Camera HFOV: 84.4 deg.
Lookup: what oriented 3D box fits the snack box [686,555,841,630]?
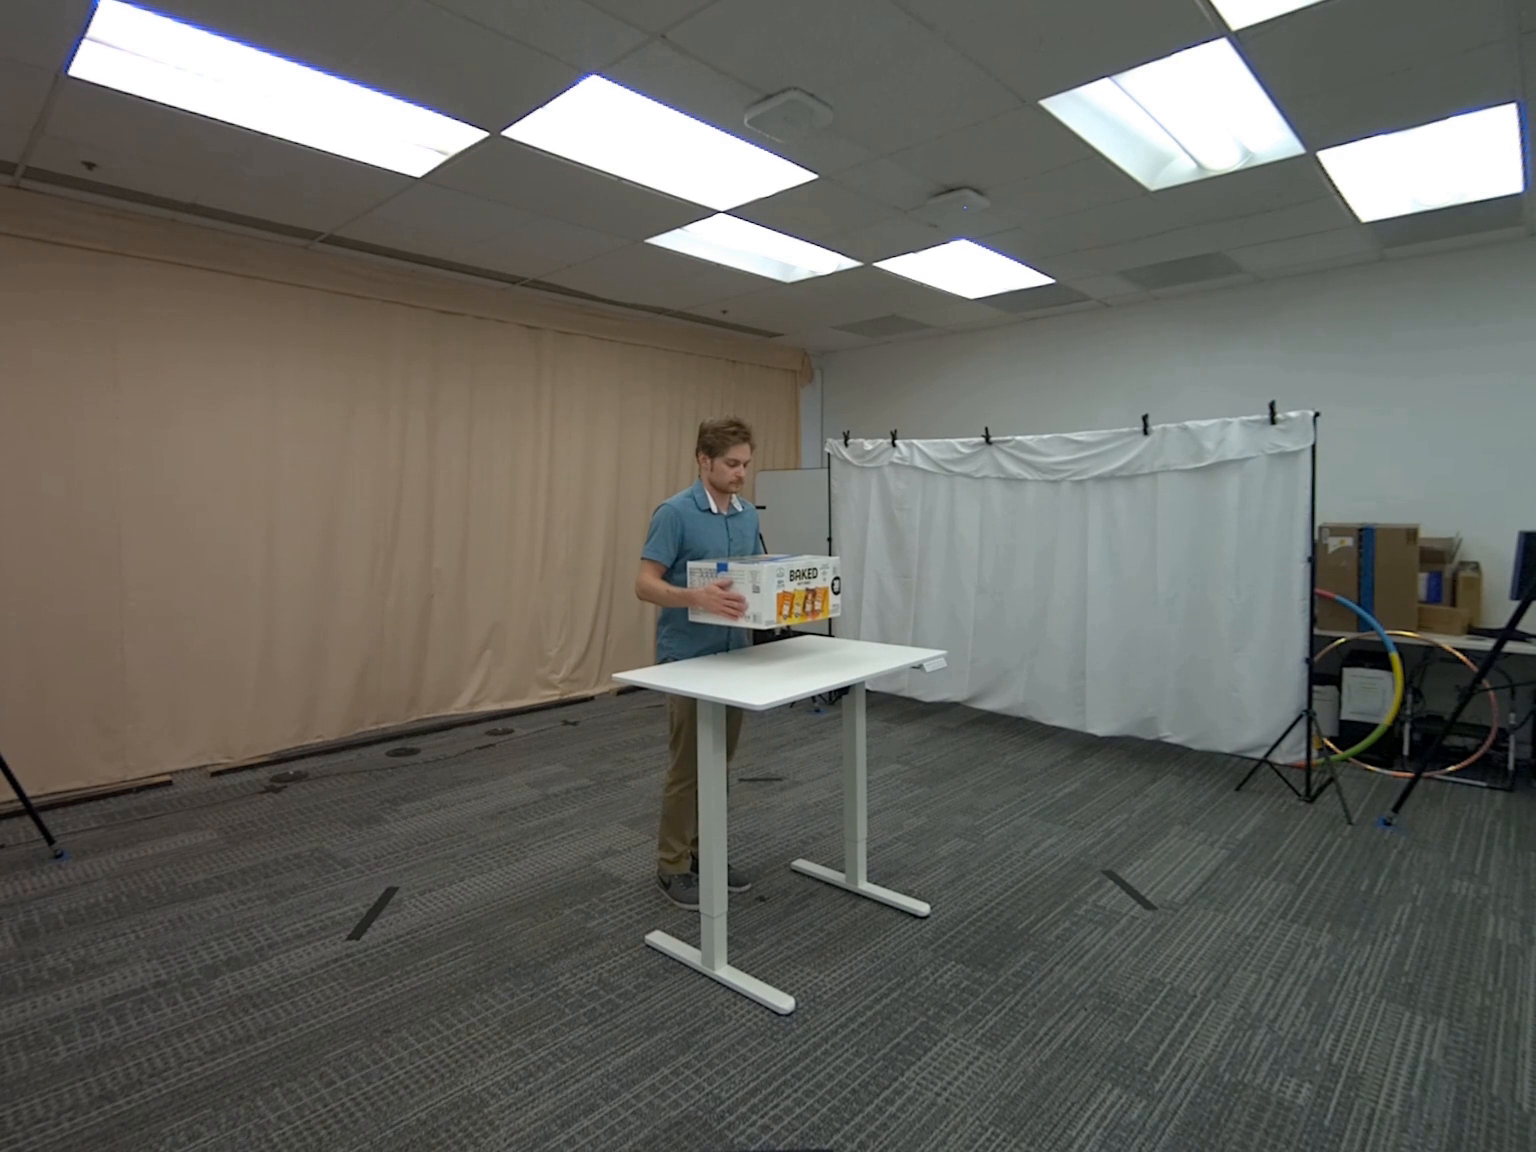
[{"bbox_3d":[-0.004,0.044,2.843,0.351,0.205,0.393,2,6,42],"label":"snack box"}]
